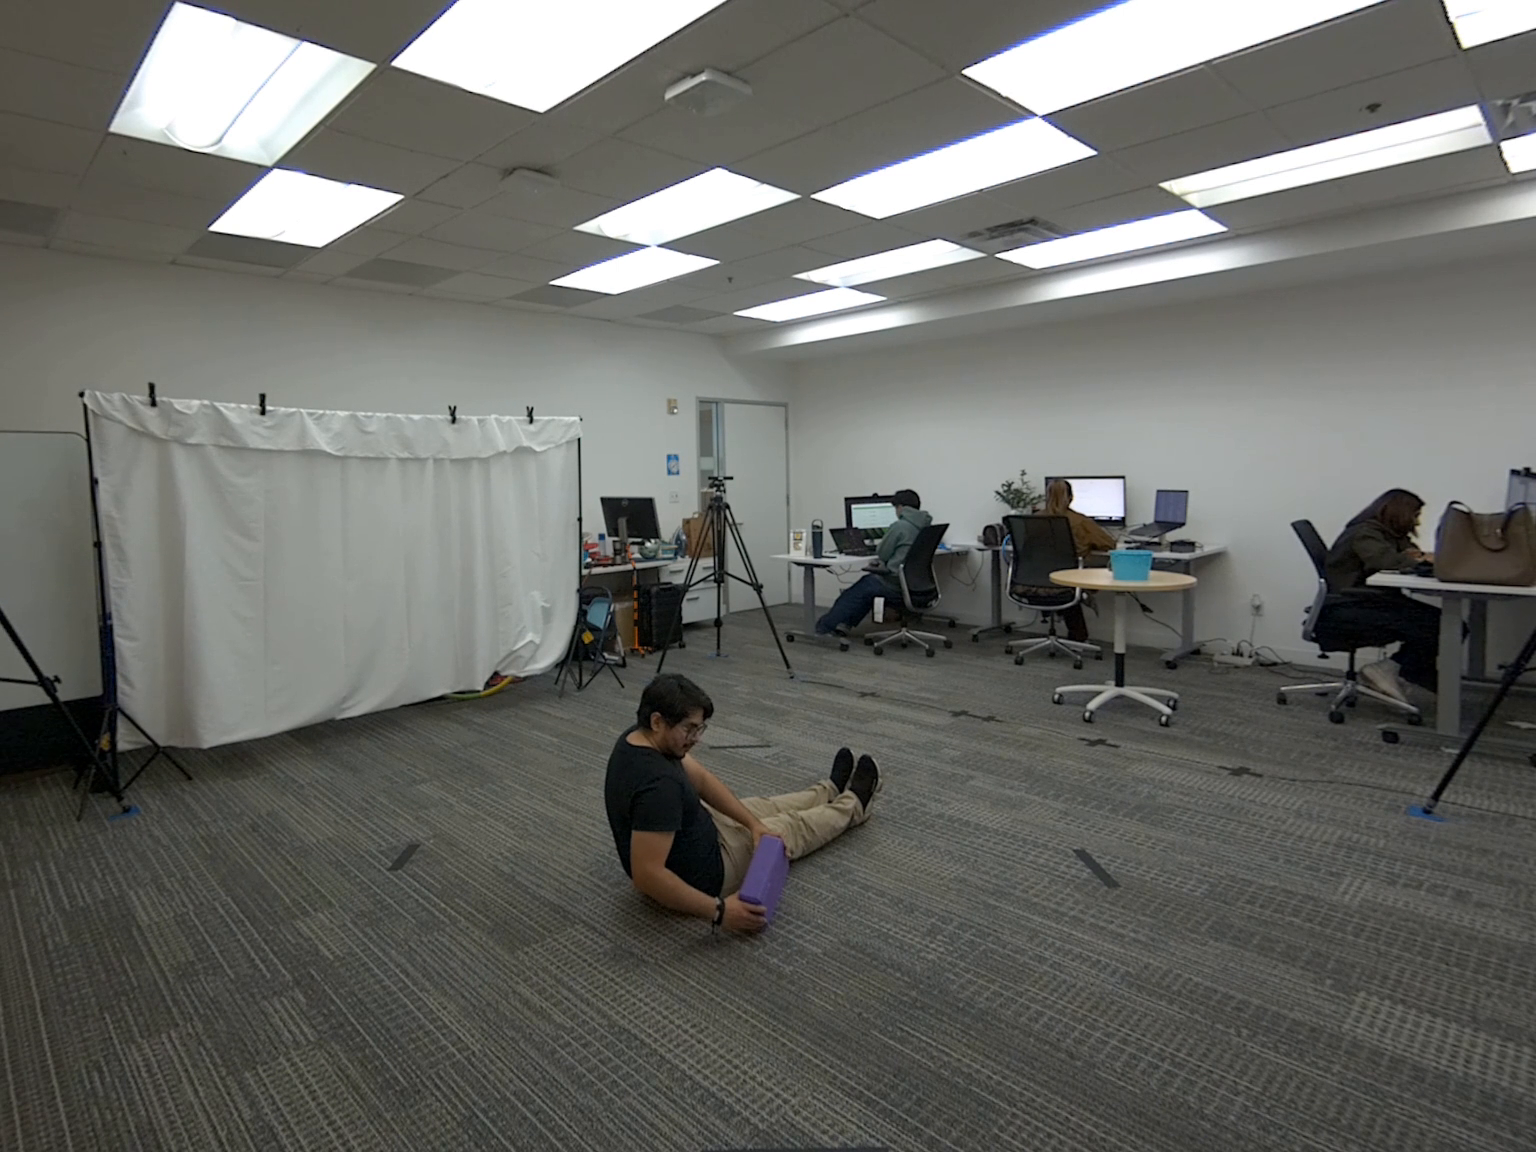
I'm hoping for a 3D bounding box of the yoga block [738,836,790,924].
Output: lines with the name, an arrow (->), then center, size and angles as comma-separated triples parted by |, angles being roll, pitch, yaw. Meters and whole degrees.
yoga block -> -0.019, 0.952, 2.683 | 0.078, 0.144, 0.232 | -3, 36, 19
